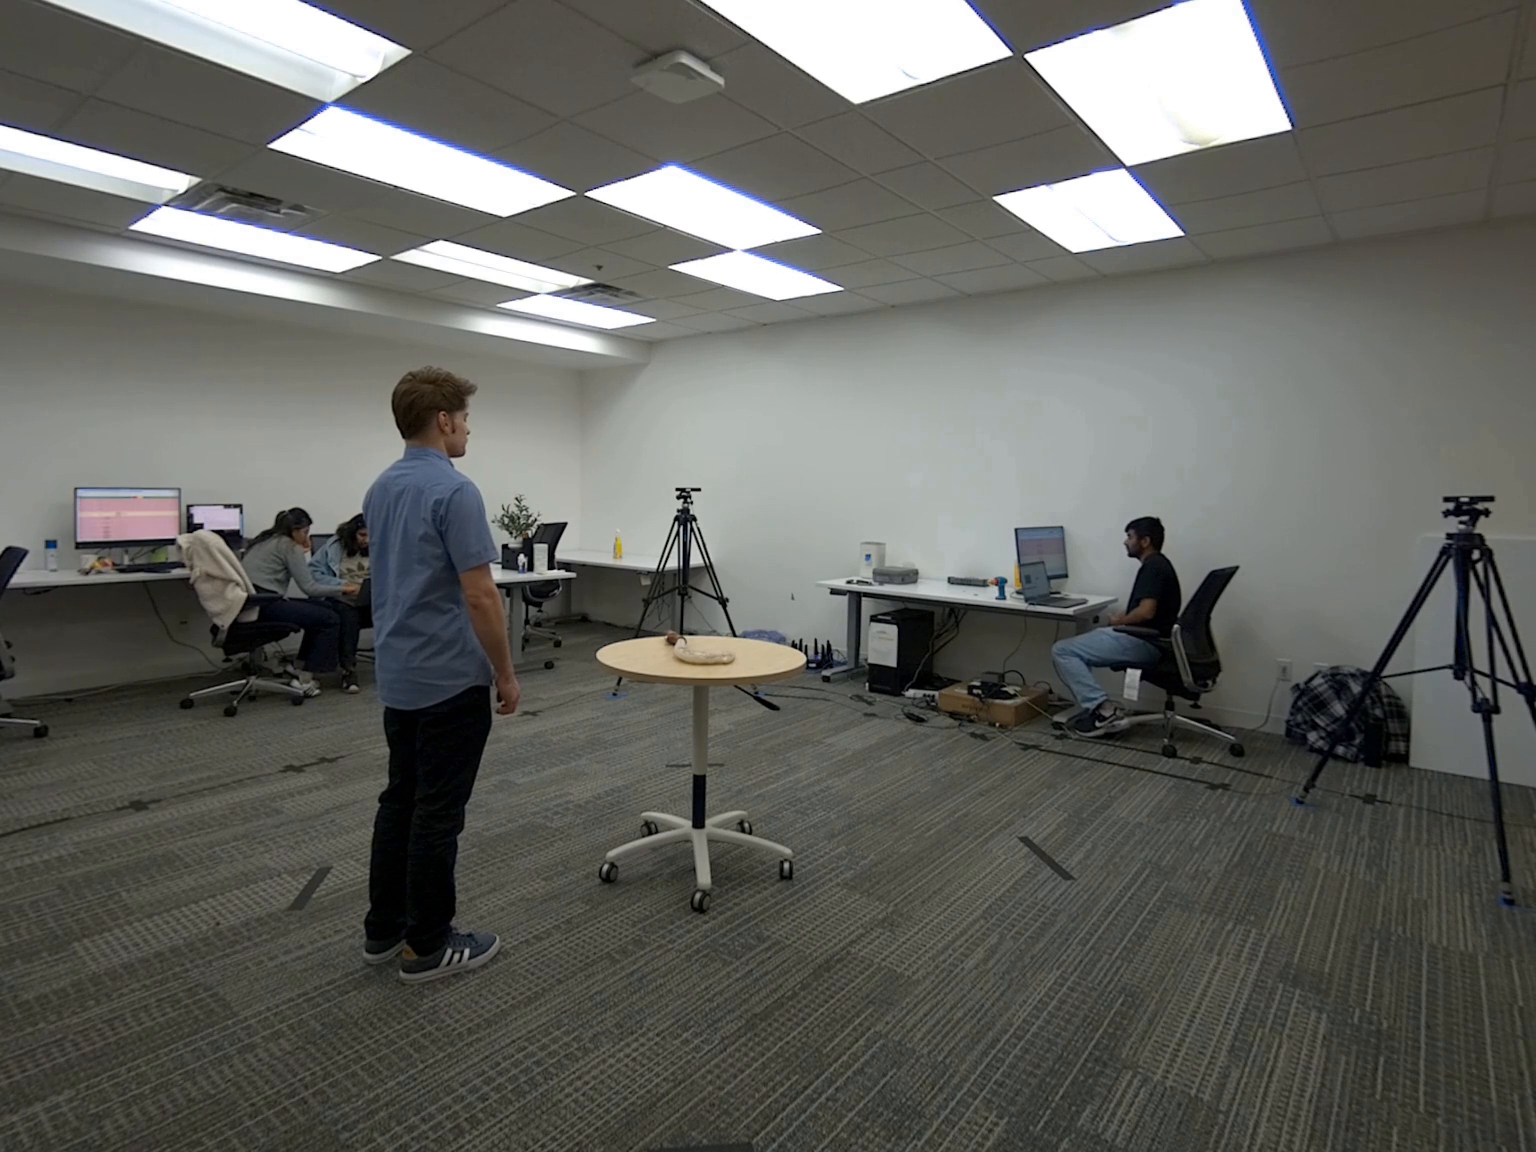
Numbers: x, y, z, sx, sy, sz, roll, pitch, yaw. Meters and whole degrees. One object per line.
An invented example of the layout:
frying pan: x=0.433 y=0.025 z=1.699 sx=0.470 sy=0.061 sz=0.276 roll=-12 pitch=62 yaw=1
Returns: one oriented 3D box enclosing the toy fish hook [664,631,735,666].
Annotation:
toy fish hook: x=-0.276 y=0.267 z=3.164 sx=0.220 sy=0.048 sz=0.518 roll=6 pitch=5 yaw=-19
